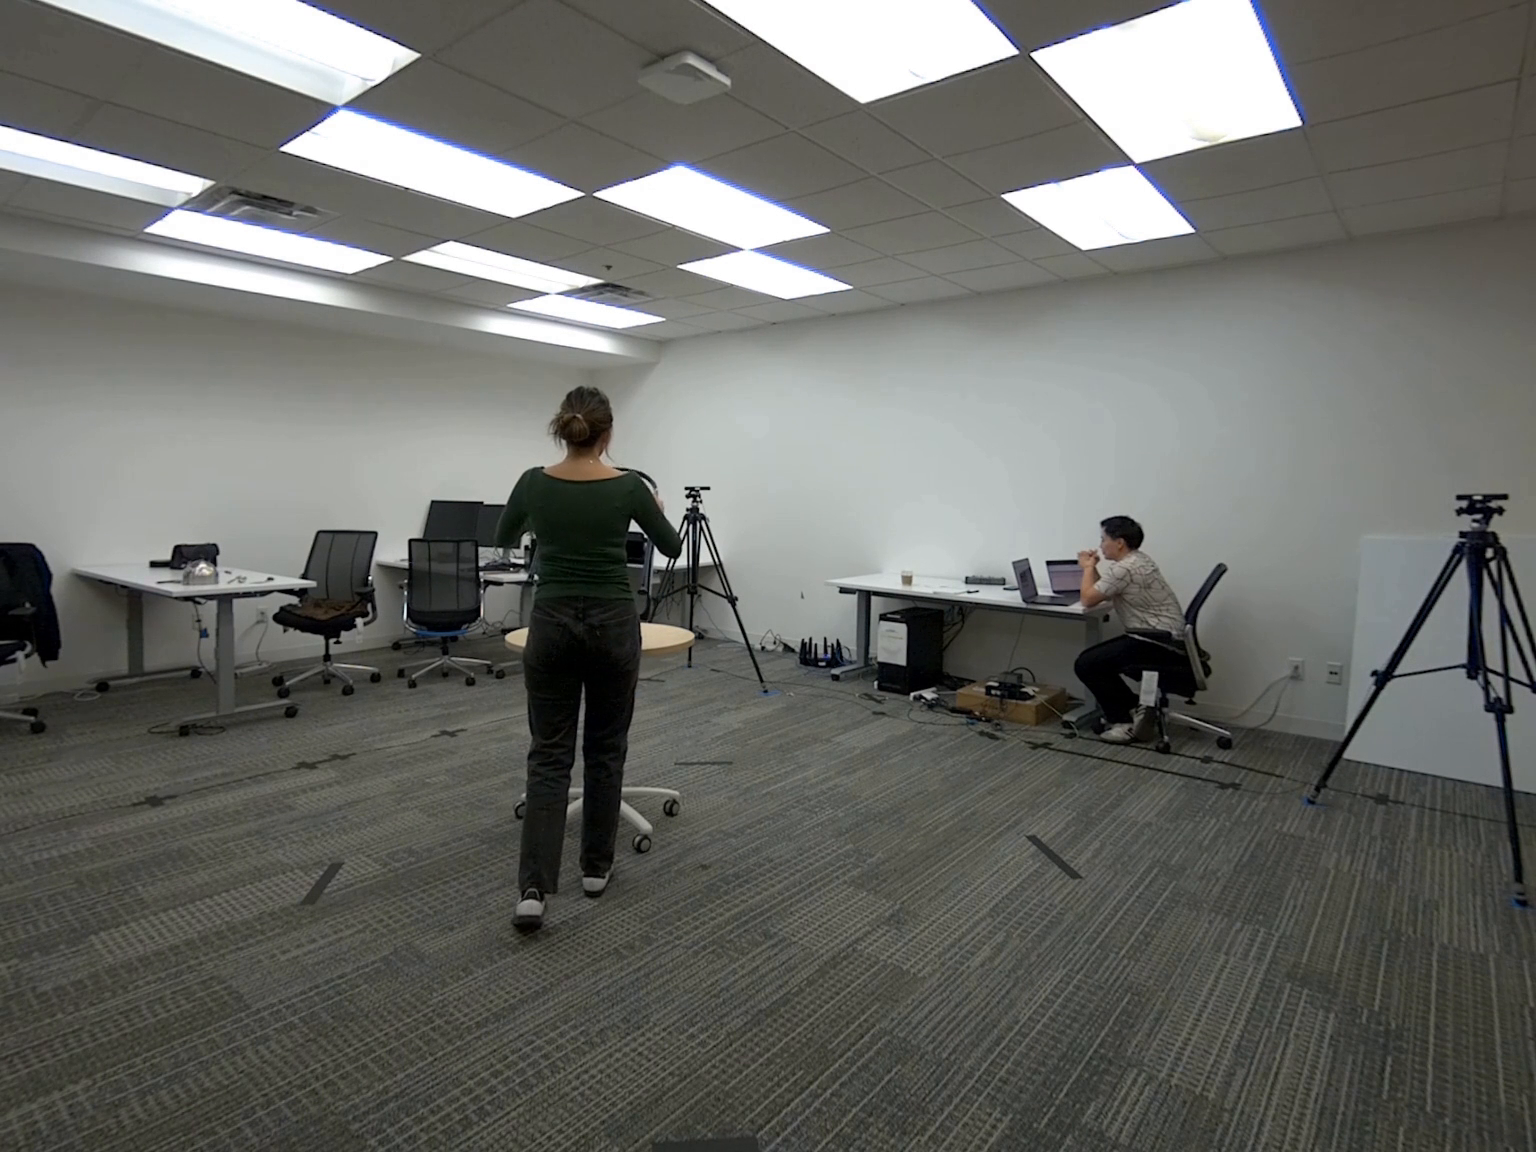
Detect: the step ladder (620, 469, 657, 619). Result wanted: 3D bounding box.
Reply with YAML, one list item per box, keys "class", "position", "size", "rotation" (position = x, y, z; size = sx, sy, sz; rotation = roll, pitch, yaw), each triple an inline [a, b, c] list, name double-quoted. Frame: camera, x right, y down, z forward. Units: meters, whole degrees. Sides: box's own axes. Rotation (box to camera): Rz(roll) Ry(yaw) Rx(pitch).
- class: "step ladder"
  position: [-0.651, -0.180, 3.224]
  size: [0.431, 0.618, 0.342]
  rotation: [5, -25, 0]
